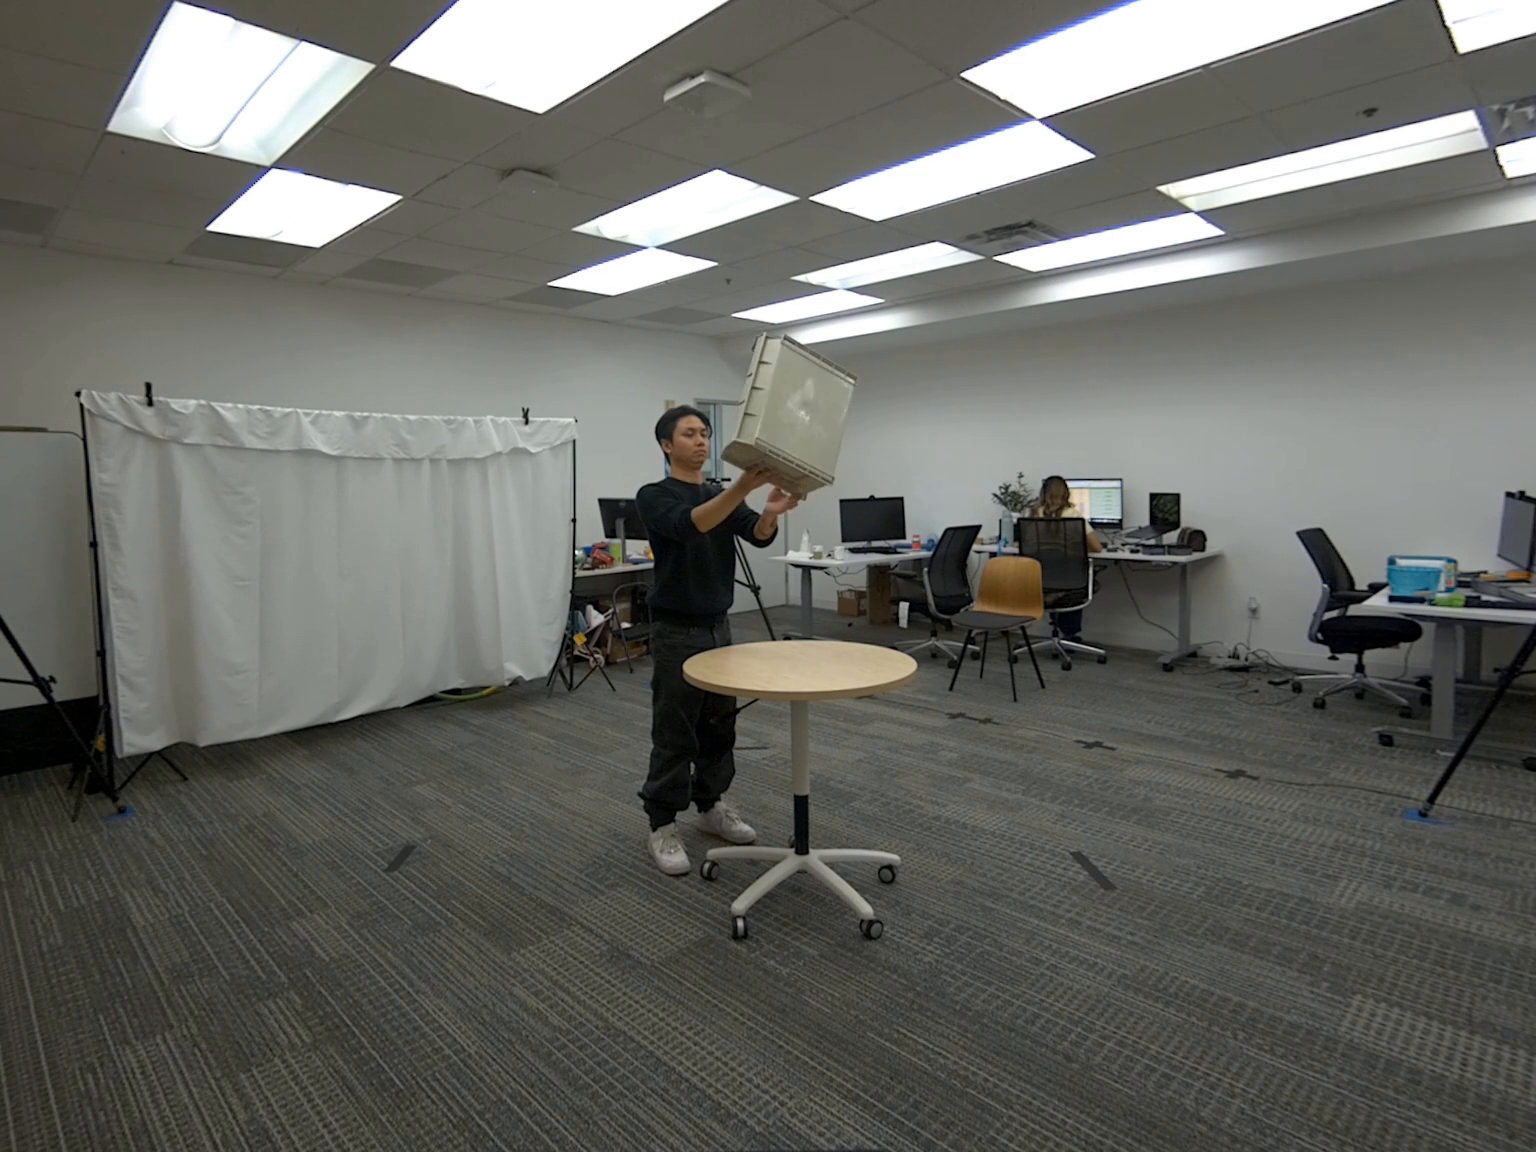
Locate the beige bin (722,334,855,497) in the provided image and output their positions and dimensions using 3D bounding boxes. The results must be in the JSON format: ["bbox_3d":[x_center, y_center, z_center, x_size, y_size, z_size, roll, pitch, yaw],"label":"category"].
[{"bbox_3d":[0.072,-0.530,2.813,0.367,0.427,0.192,24,-22,-25],"label":"beige bin"}]
